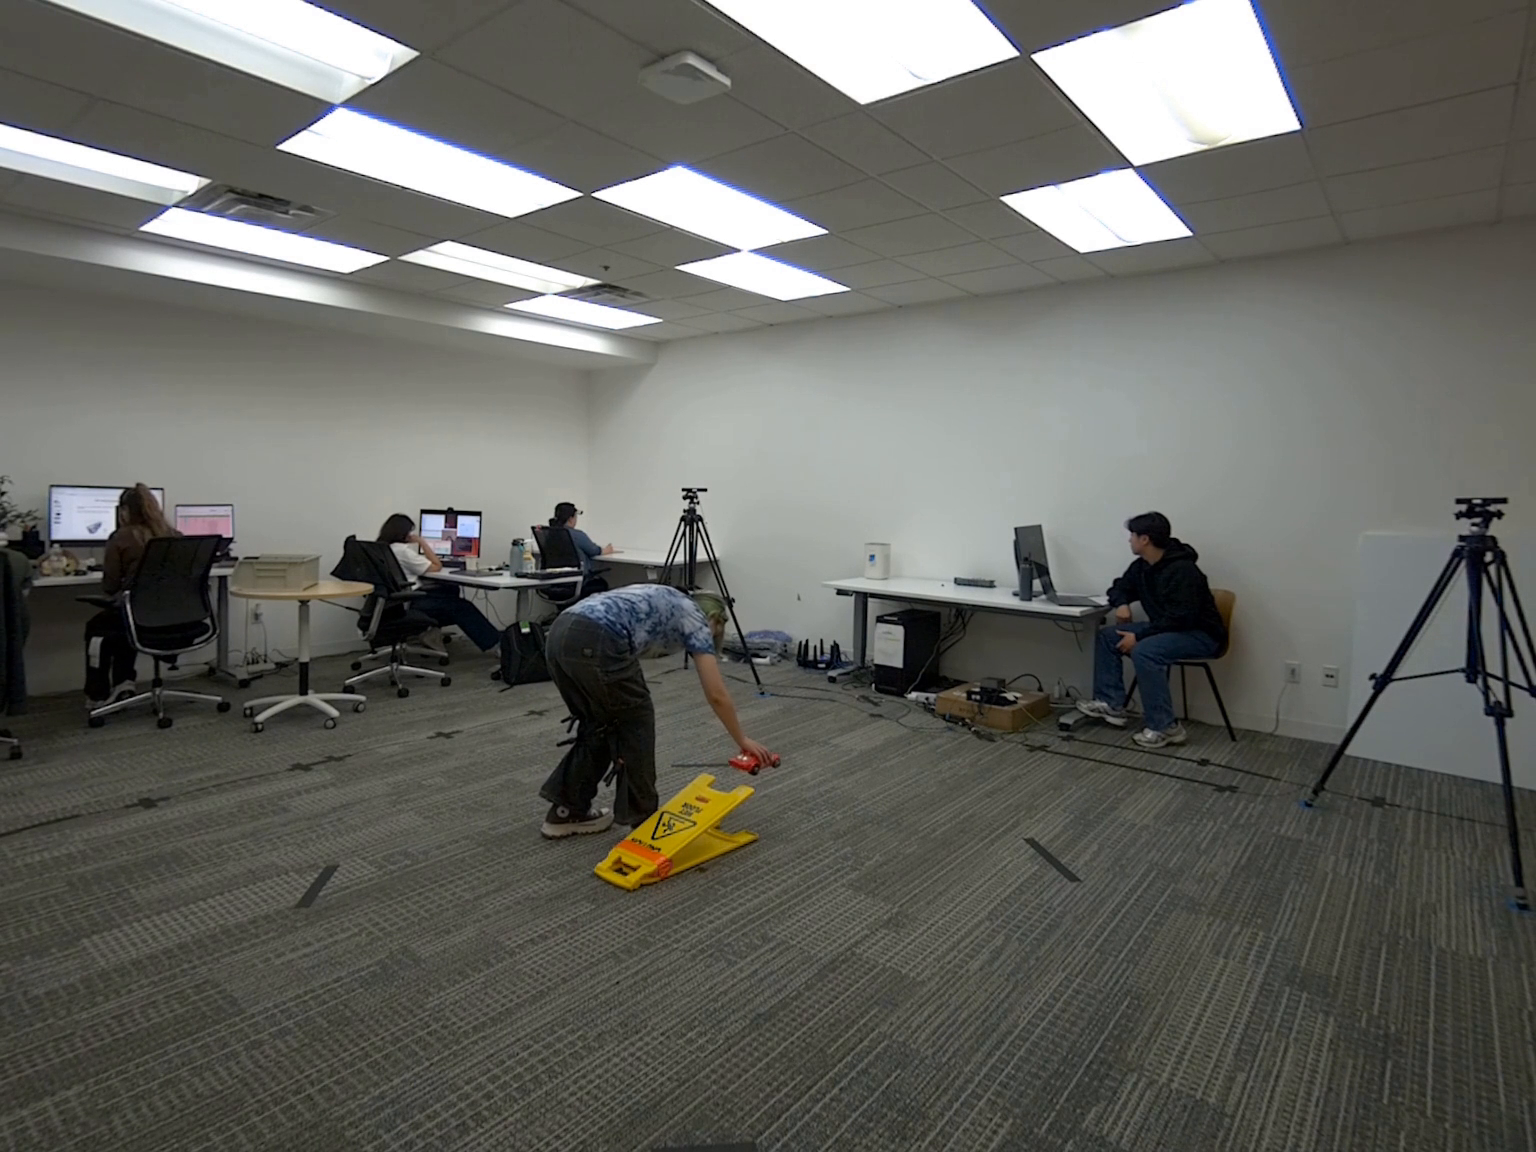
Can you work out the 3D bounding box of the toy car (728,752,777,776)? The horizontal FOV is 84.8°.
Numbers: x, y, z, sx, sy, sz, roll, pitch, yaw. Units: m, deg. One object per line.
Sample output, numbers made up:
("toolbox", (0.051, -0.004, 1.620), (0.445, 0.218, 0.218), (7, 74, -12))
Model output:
("toy car", (-0.077, 0.782, 3.519), (0.135, 0.083, 0.245), (9, -3, 39))
